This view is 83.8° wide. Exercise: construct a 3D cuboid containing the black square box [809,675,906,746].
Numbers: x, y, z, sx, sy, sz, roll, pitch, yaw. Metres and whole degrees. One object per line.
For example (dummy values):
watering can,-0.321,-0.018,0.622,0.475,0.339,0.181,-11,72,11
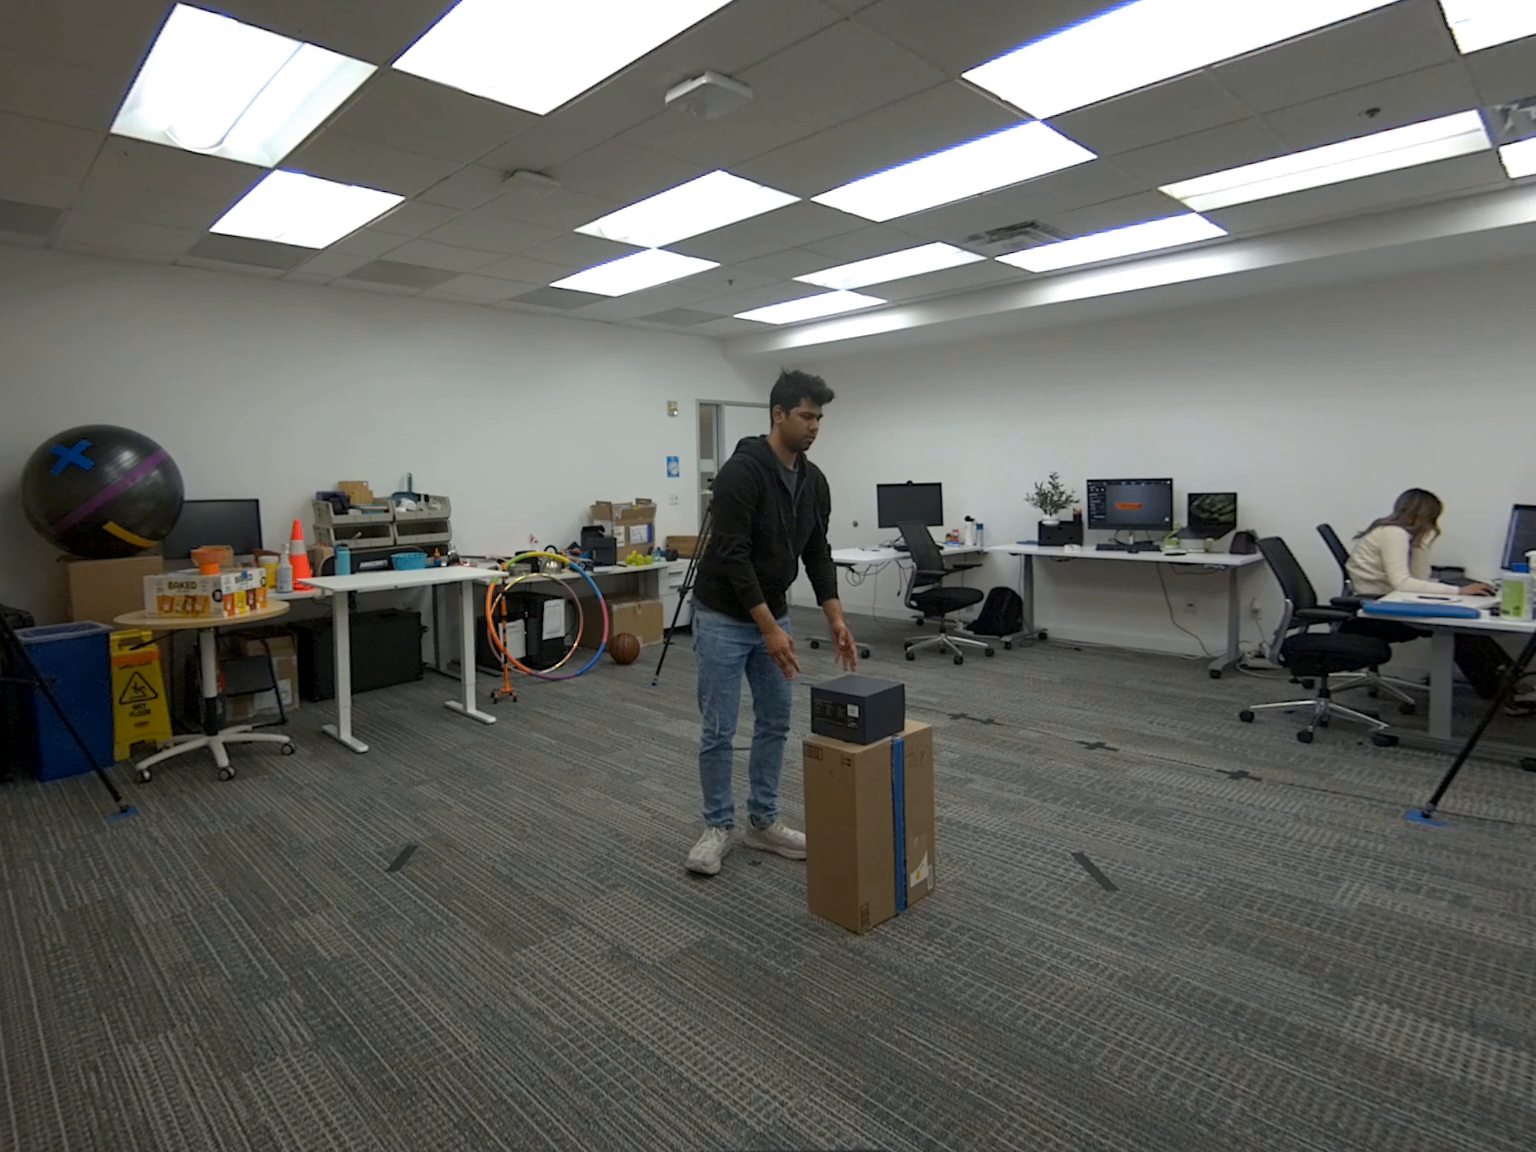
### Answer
black square box,0.296,0.428,2.788,0.223,0.155,0.222,3,7,43
